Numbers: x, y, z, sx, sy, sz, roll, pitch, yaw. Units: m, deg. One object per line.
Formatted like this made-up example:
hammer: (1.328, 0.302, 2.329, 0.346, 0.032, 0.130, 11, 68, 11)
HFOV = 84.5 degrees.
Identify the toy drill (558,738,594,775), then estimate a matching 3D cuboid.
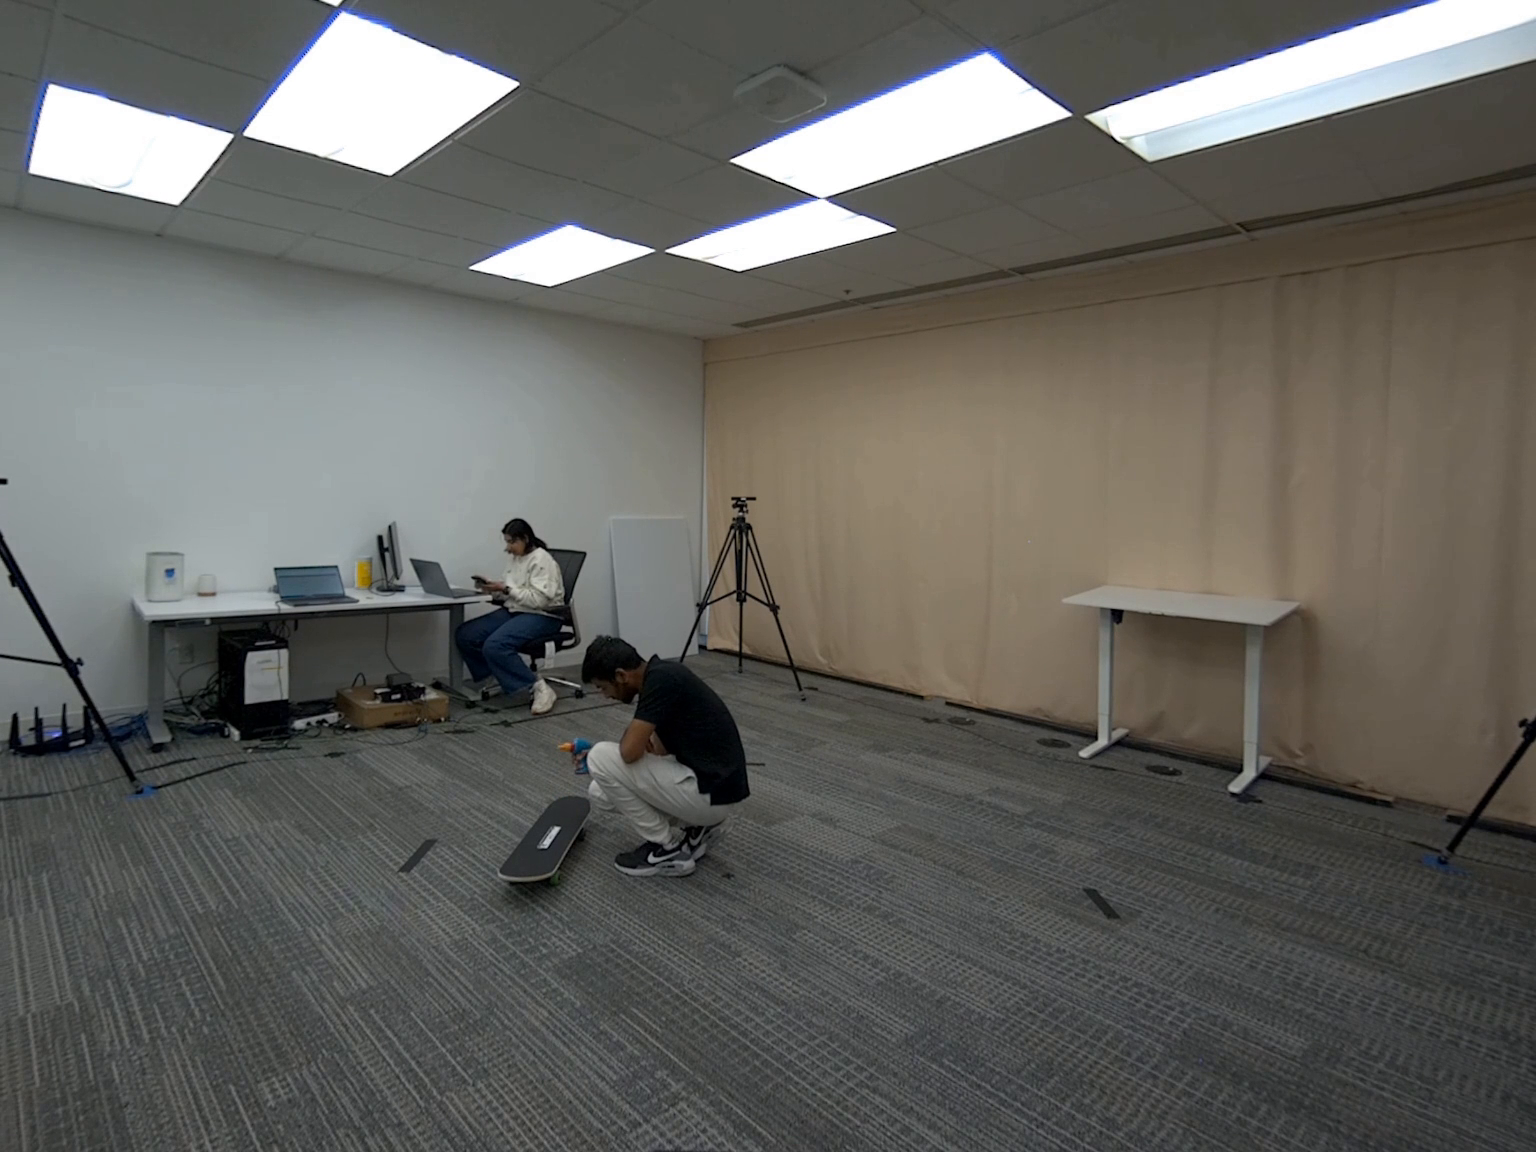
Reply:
toy drill: (-0.783, 0.730, 3.435, 0.165, 0.149, 0.061, 6, -31, -47)
